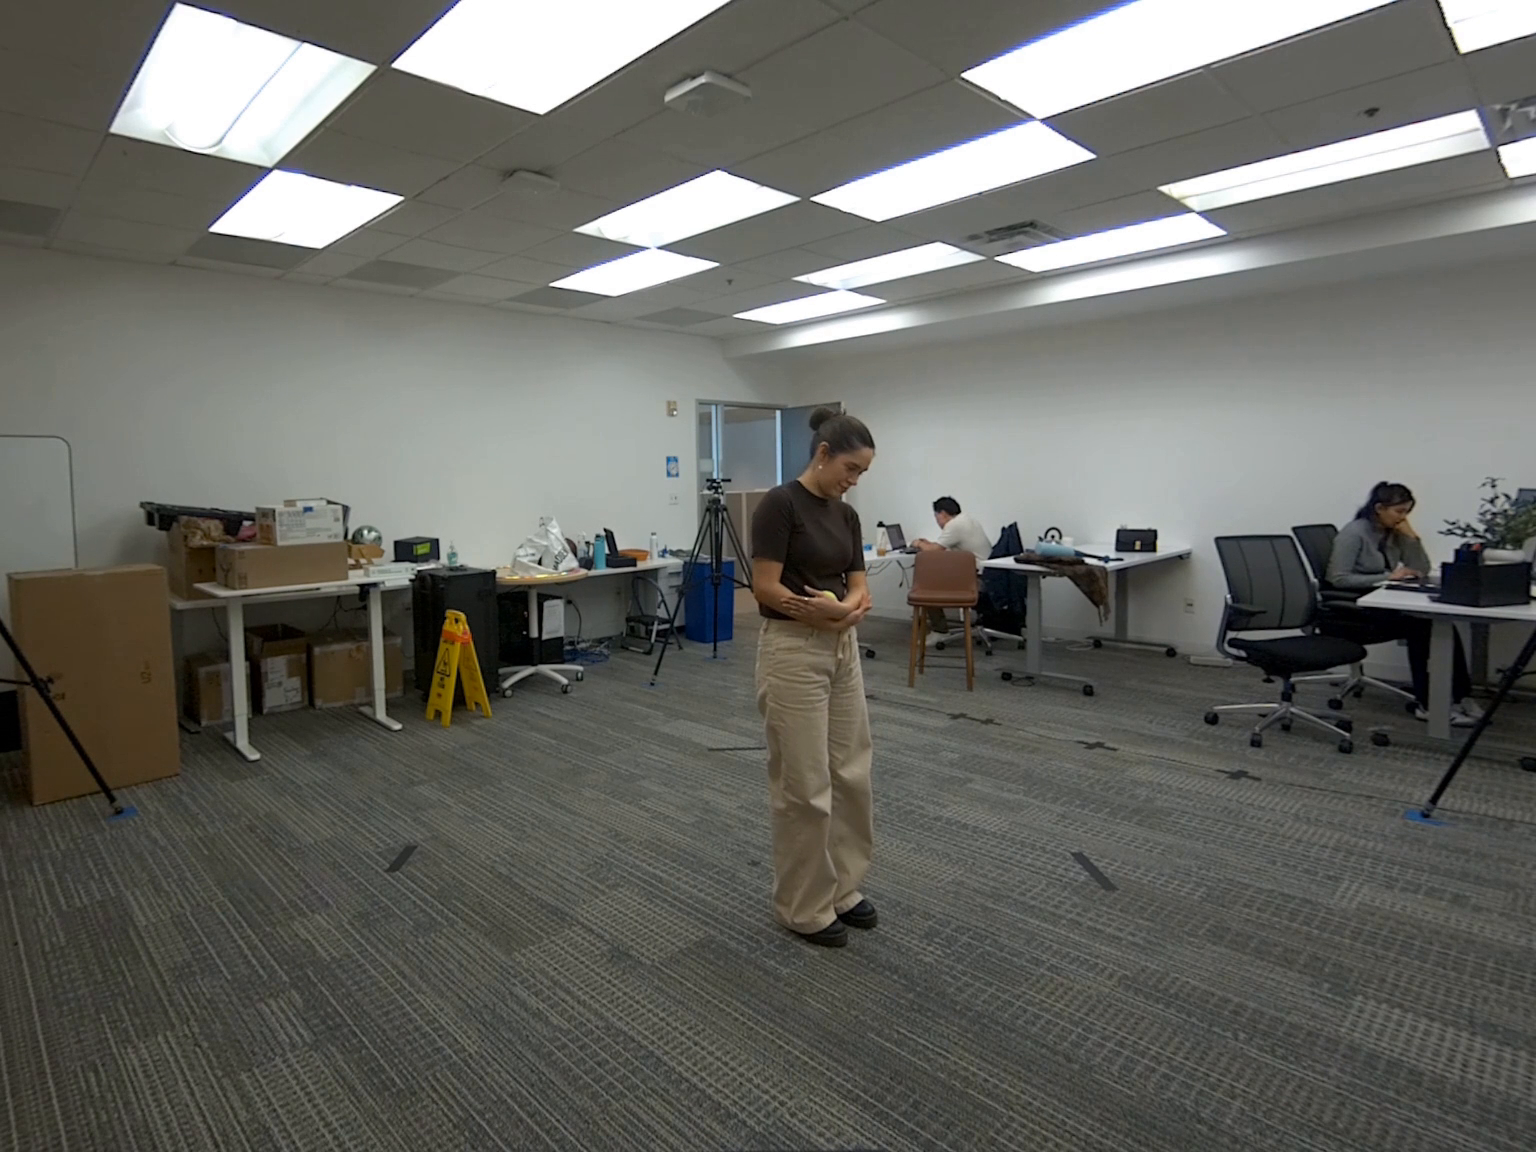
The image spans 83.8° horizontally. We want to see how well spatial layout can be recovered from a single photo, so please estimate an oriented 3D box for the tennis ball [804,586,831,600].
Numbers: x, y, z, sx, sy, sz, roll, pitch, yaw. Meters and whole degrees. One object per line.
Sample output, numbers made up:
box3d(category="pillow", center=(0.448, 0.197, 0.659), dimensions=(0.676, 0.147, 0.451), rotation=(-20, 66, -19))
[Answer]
box3d(category="tennis ball", center=(0.121, 0.084, 2.503), dimensions=(0.066, 0.066, 0.067), rotation=(-1, 5, -2))
